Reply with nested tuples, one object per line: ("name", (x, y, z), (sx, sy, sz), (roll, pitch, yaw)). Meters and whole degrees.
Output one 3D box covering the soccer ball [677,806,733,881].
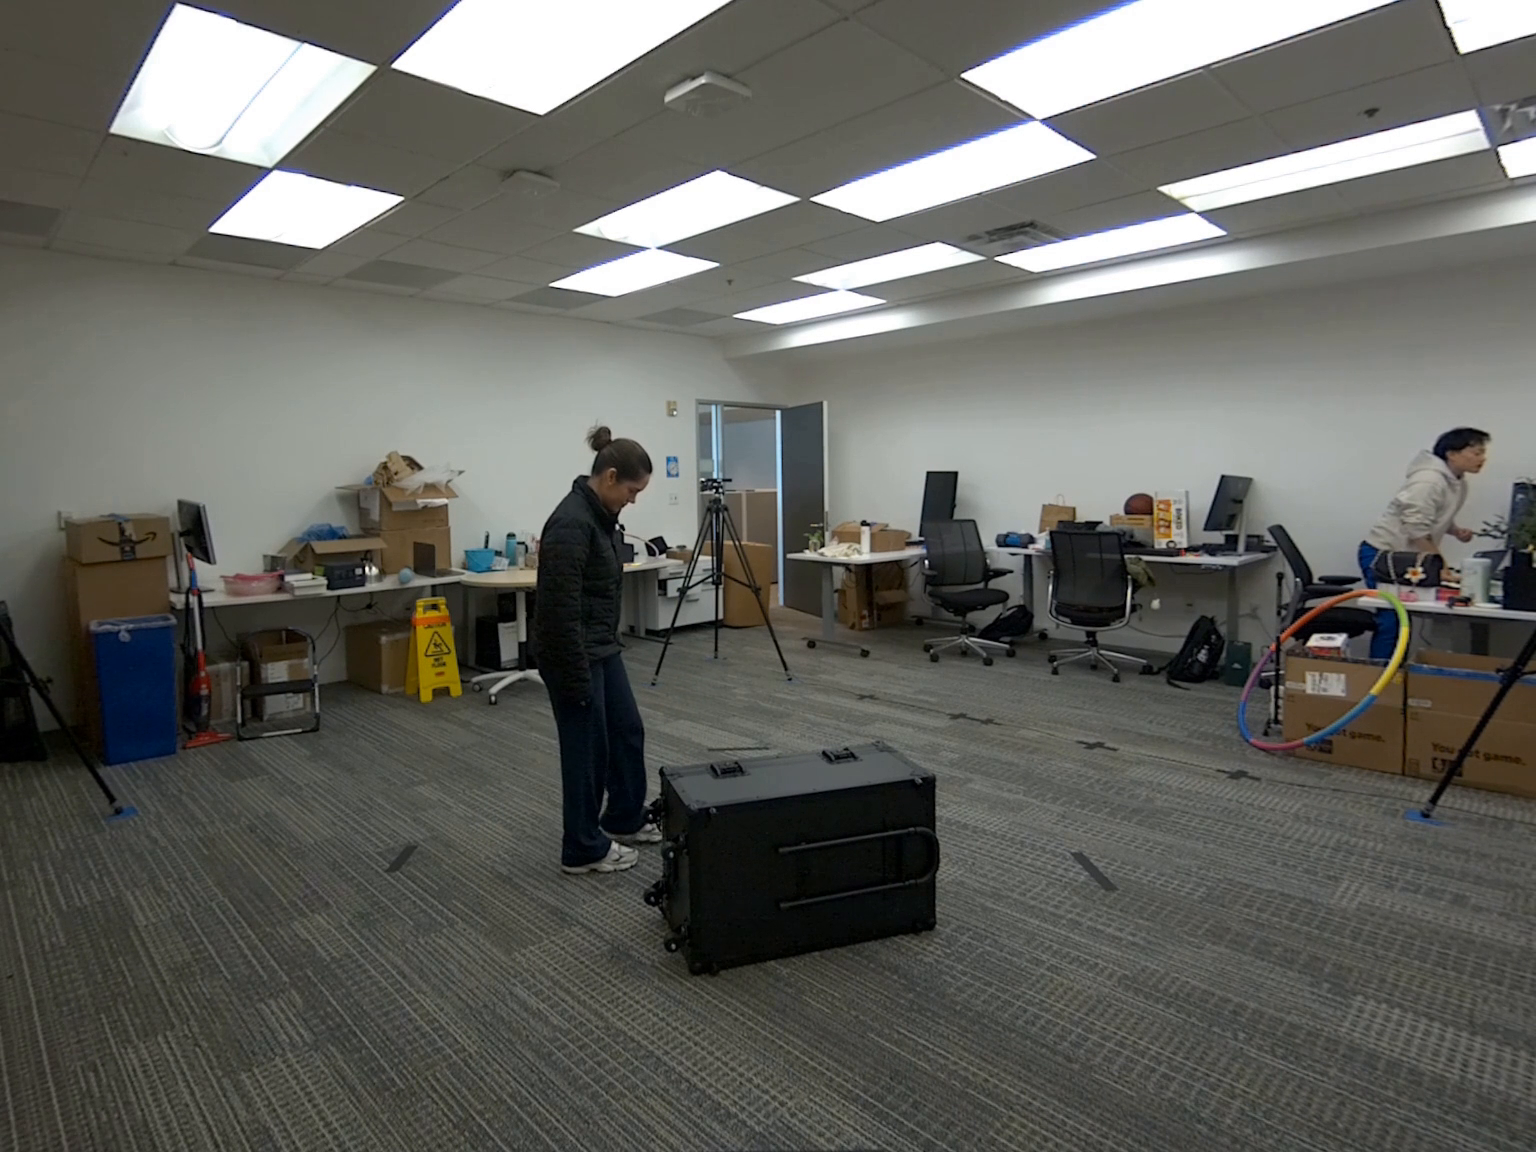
("soccer ball", (-0.225, 0.949, 3.062), (0.187, 0.187, 0.188), (-1, 5, -2))
